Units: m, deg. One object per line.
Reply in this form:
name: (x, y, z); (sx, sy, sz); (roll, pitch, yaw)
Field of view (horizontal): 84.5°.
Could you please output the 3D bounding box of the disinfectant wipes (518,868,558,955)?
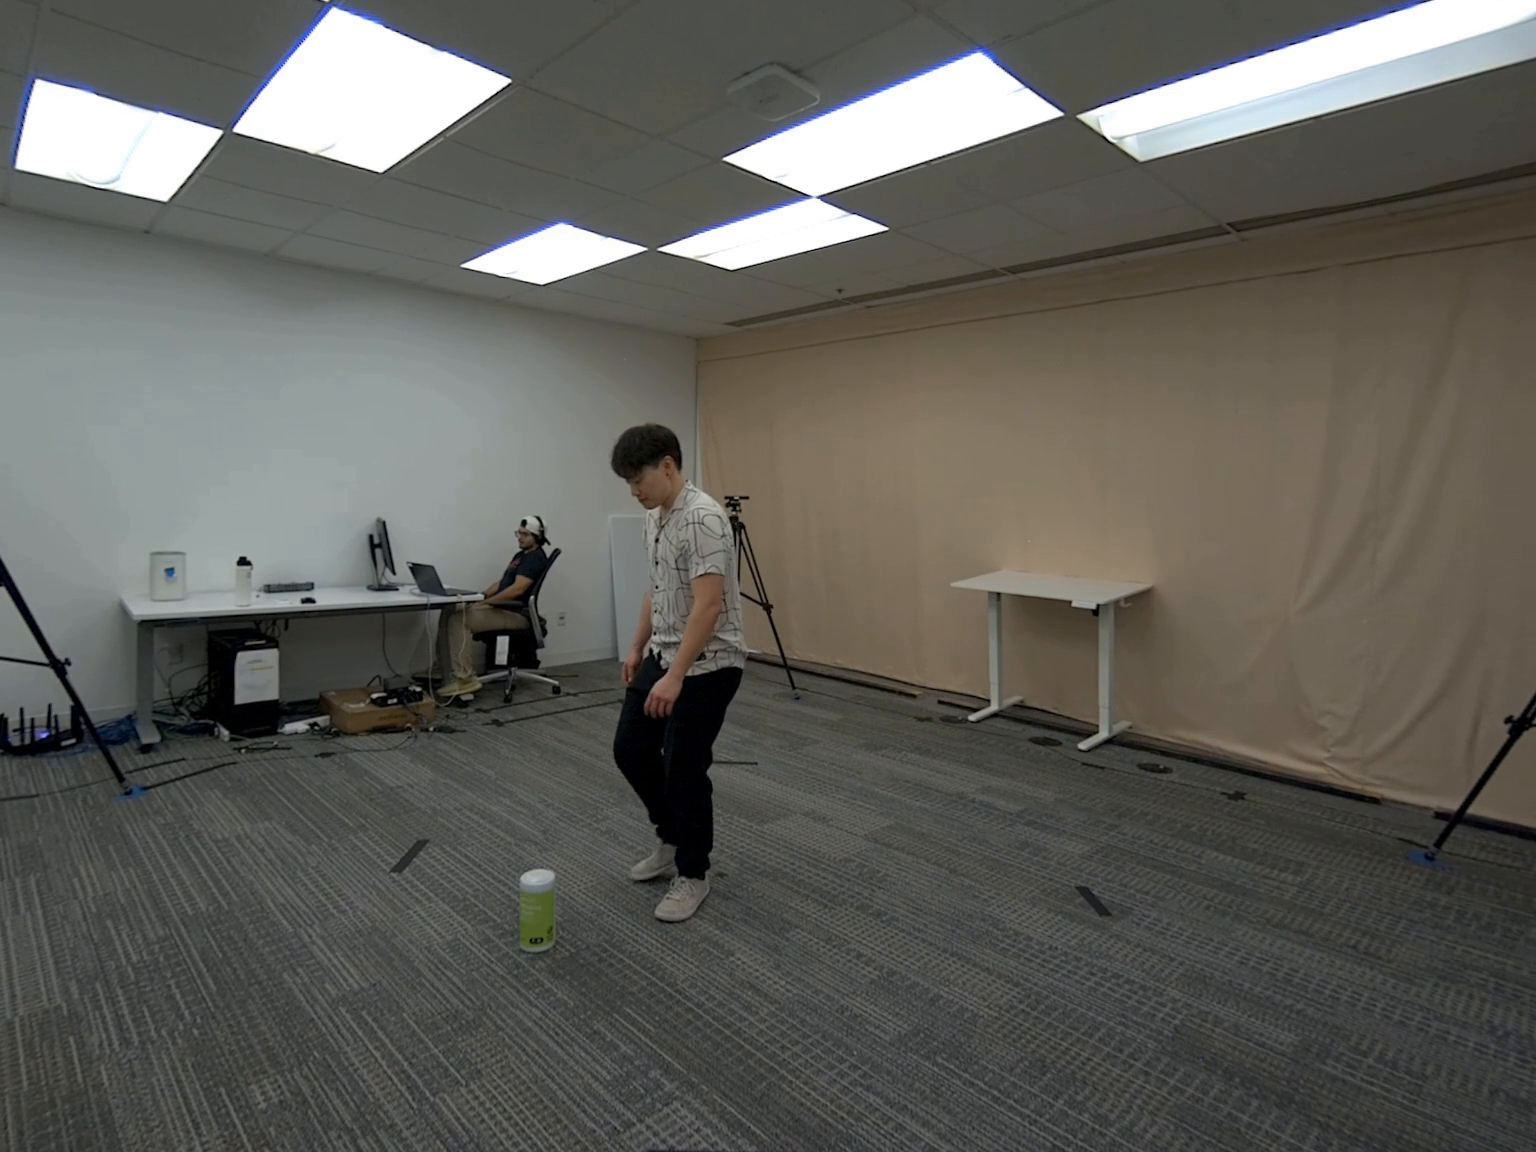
disinfectant wipes: (-0.722, 1.038, 2.594); (0.118, 0.217, 0.118); (3, 4, -2)
